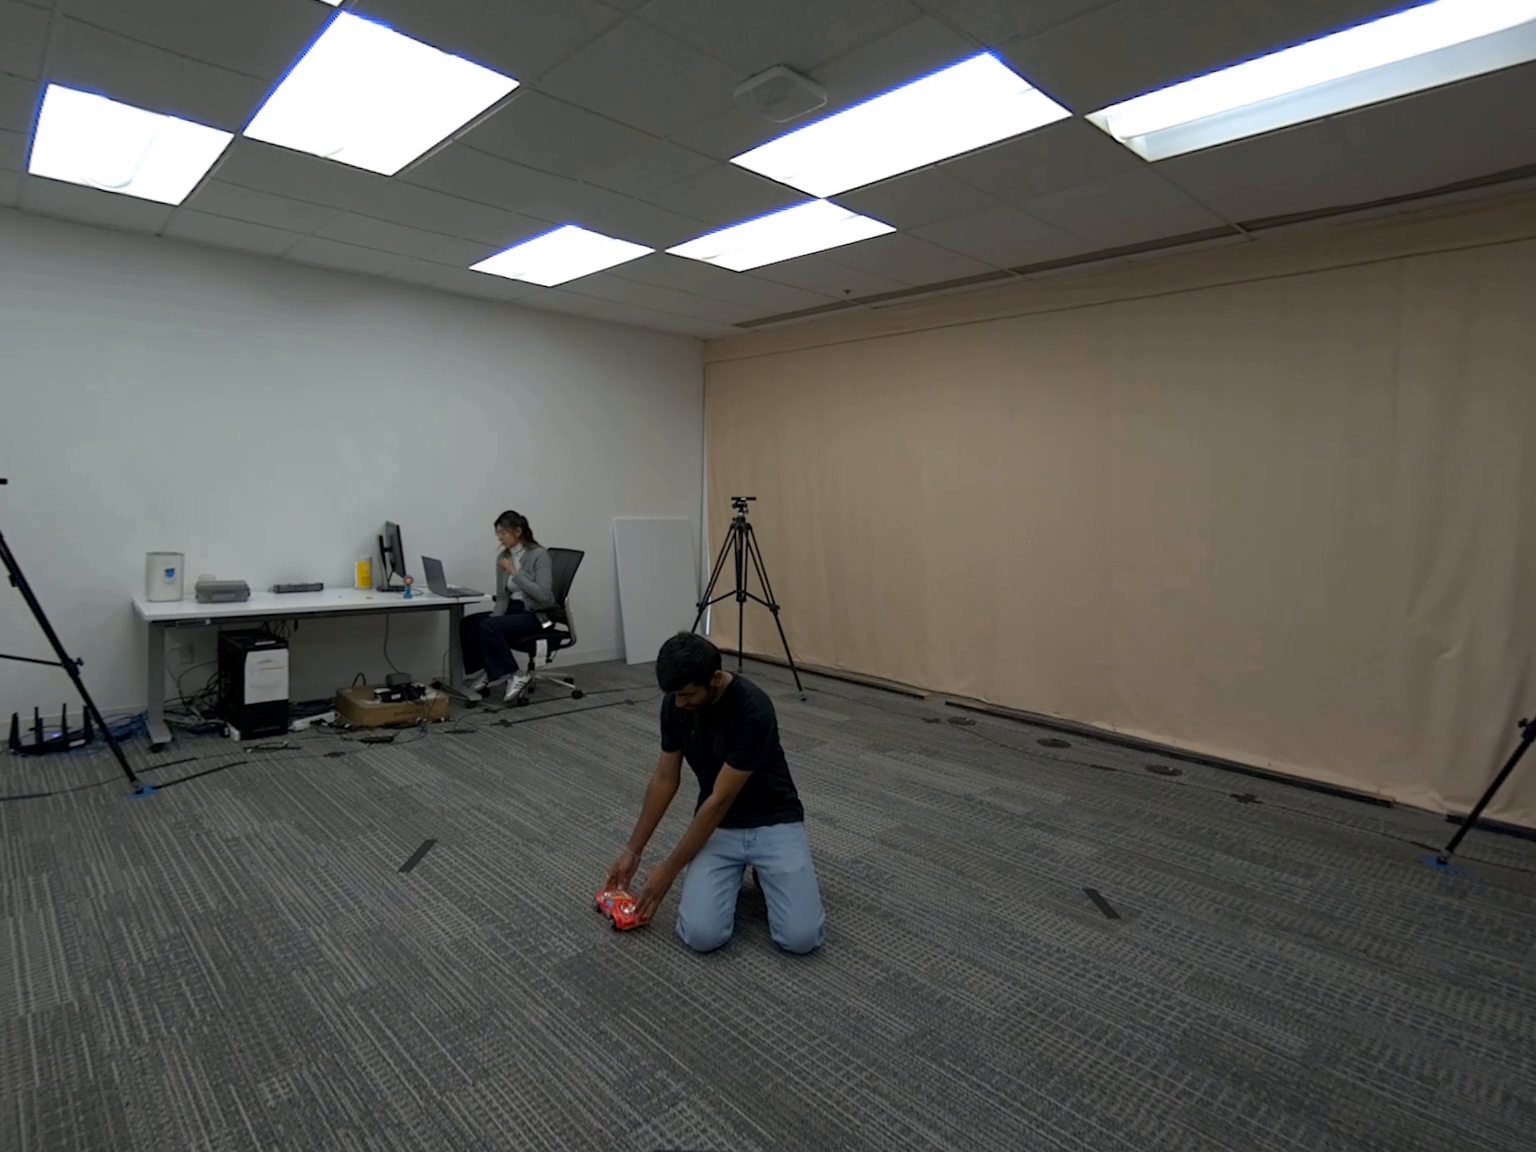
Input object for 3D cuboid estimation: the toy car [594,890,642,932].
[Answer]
[{"bbox_3d":[-0.479,1.088,2.762,0.128,0.083,0.258,-3,-6,-32],"label":"toy car"}]
